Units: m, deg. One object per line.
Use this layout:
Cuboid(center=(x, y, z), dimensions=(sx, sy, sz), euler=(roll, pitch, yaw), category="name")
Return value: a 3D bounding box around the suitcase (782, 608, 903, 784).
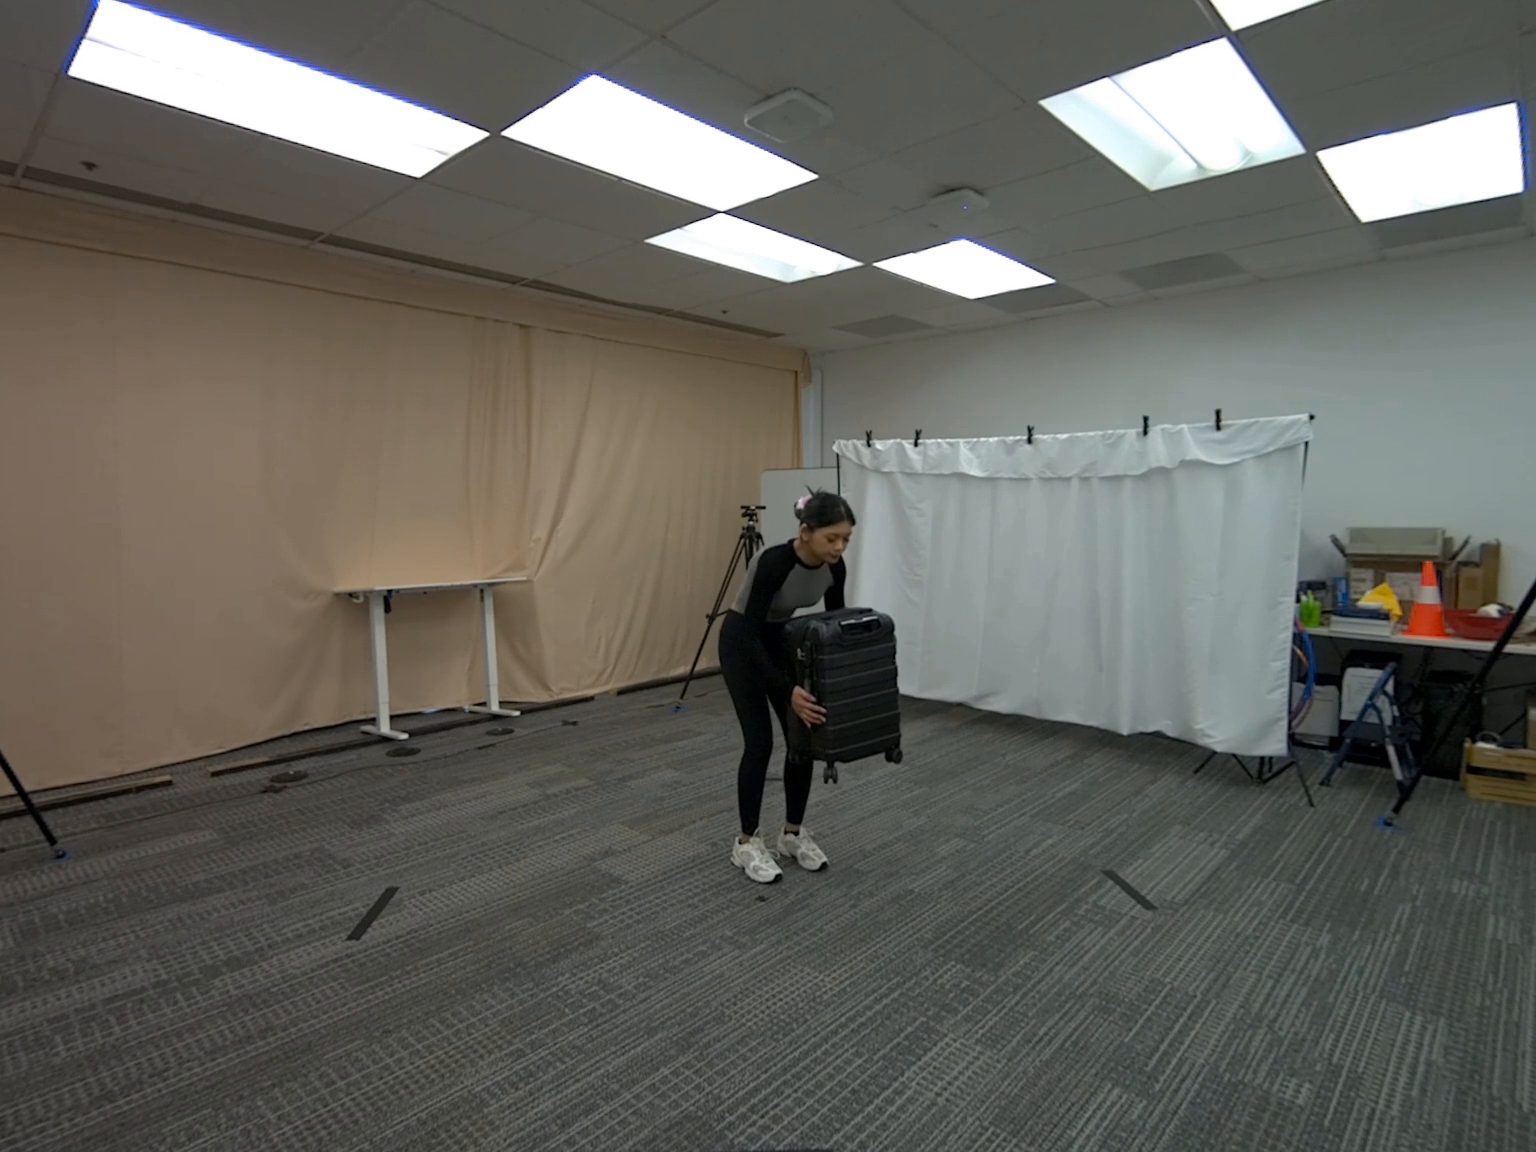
Cuboid(center=(0.265, 0.394, 2.964), dimensions=(0.366, 0.547, 0.255), euler=(-7, 6, -30), category="suitcase")
